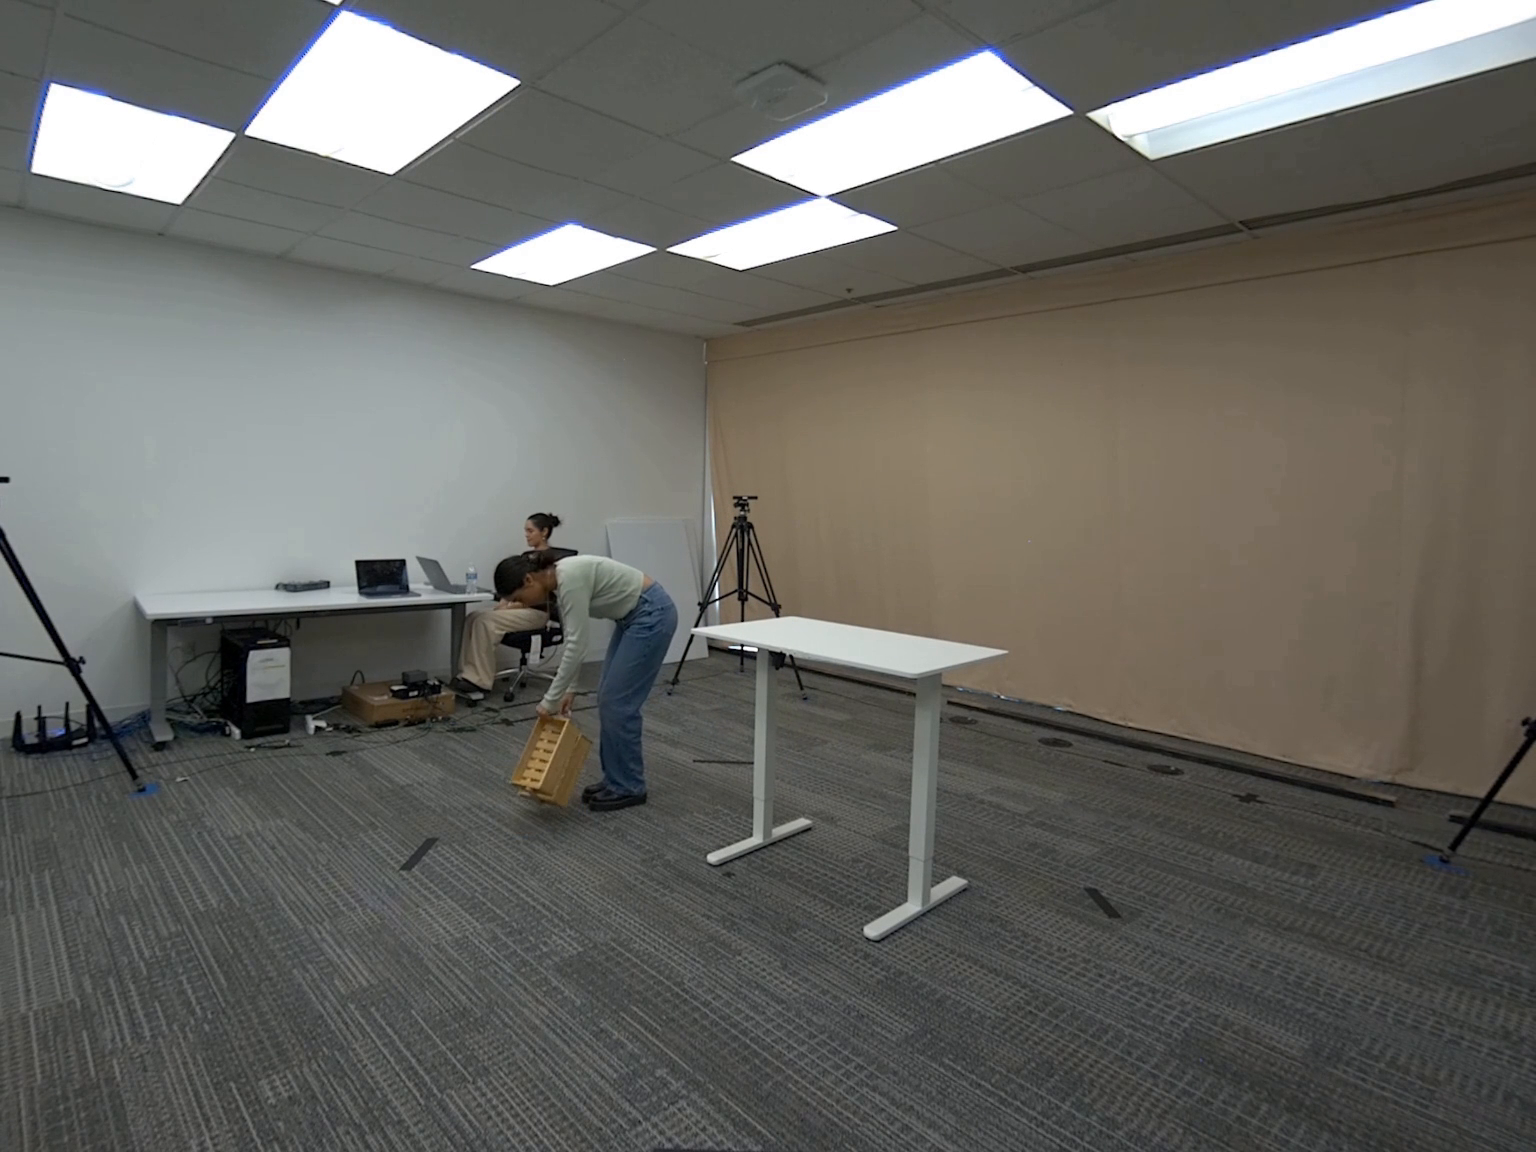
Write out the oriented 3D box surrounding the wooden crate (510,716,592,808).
[{"bbox_3d":[-0.965,0.782,3.592,0.308,0.328,0.265,2,-33,29],"label":"wooden crate"}]
